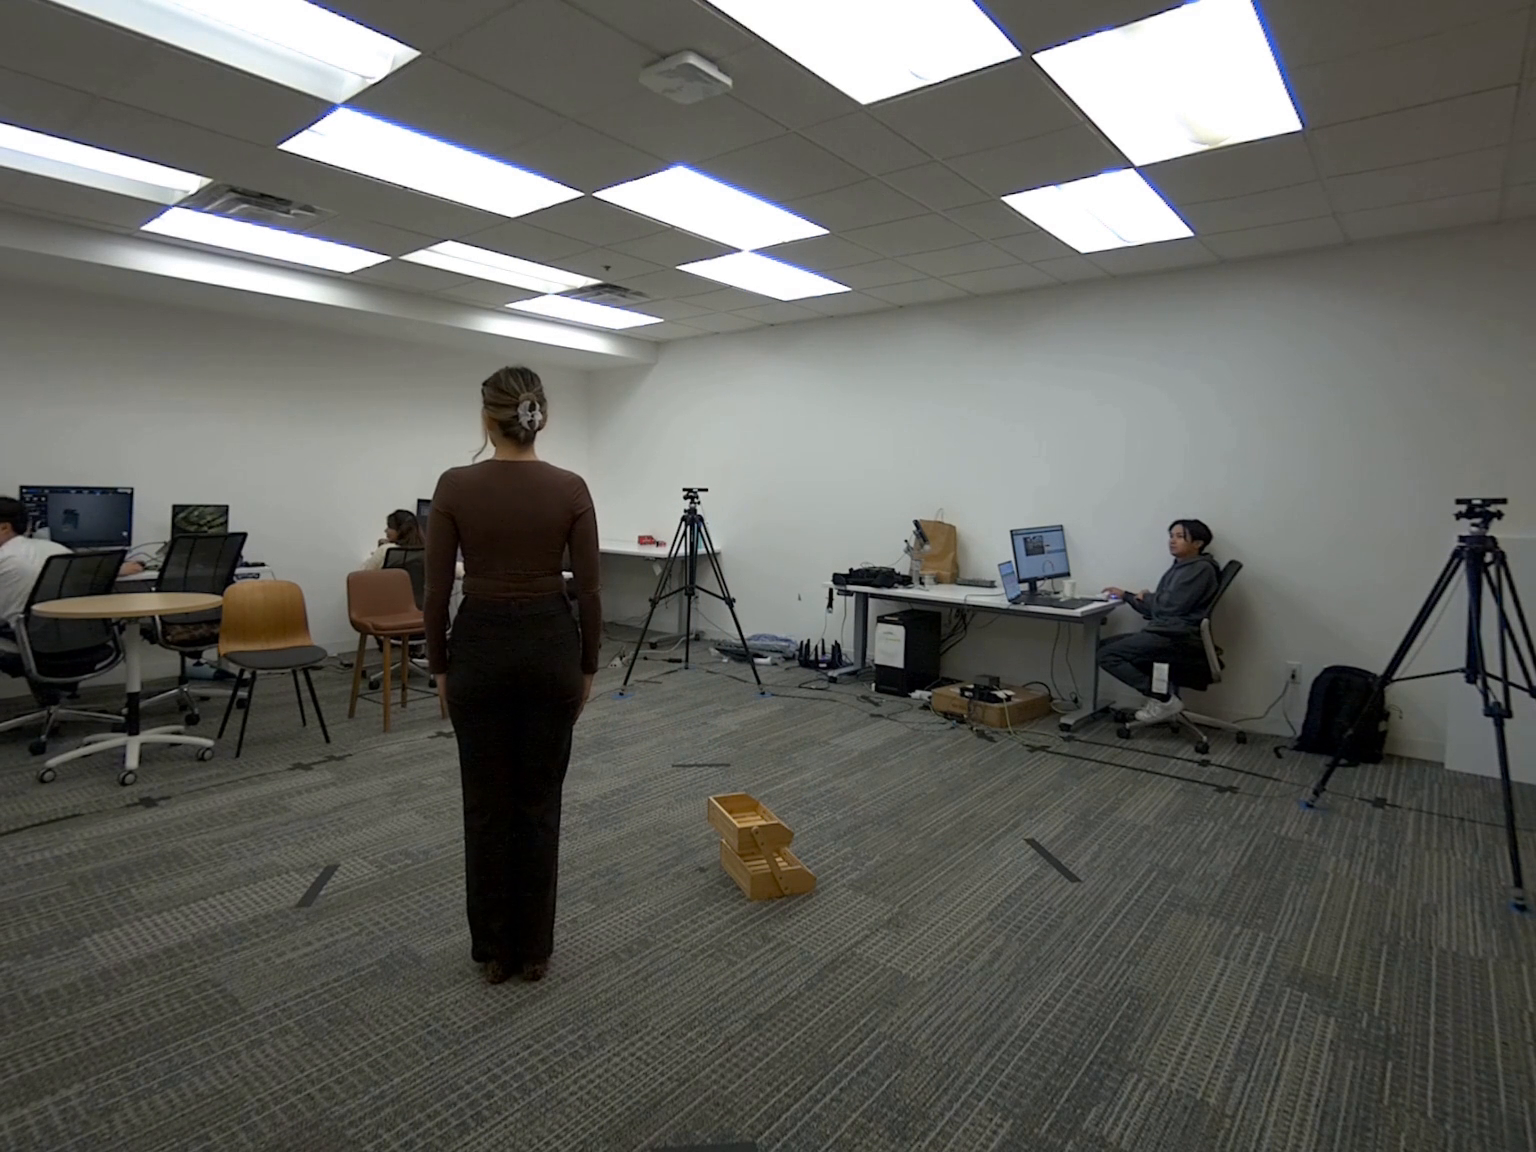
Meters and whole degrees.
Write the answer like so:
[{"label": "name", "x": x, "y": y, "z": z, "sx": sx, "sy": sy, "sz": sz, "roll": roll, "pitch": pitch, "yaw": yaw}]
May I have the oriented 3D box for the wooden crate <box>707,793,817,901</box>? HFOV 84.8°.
[{"label": "wooden crate", "x": -0.029, "y": 0.944, "z": 3.040, "sx": 0.295, "sy": 0.272, "sz": 0.333, "roll": -1, "pitch": 5, "yaw": -23}]
